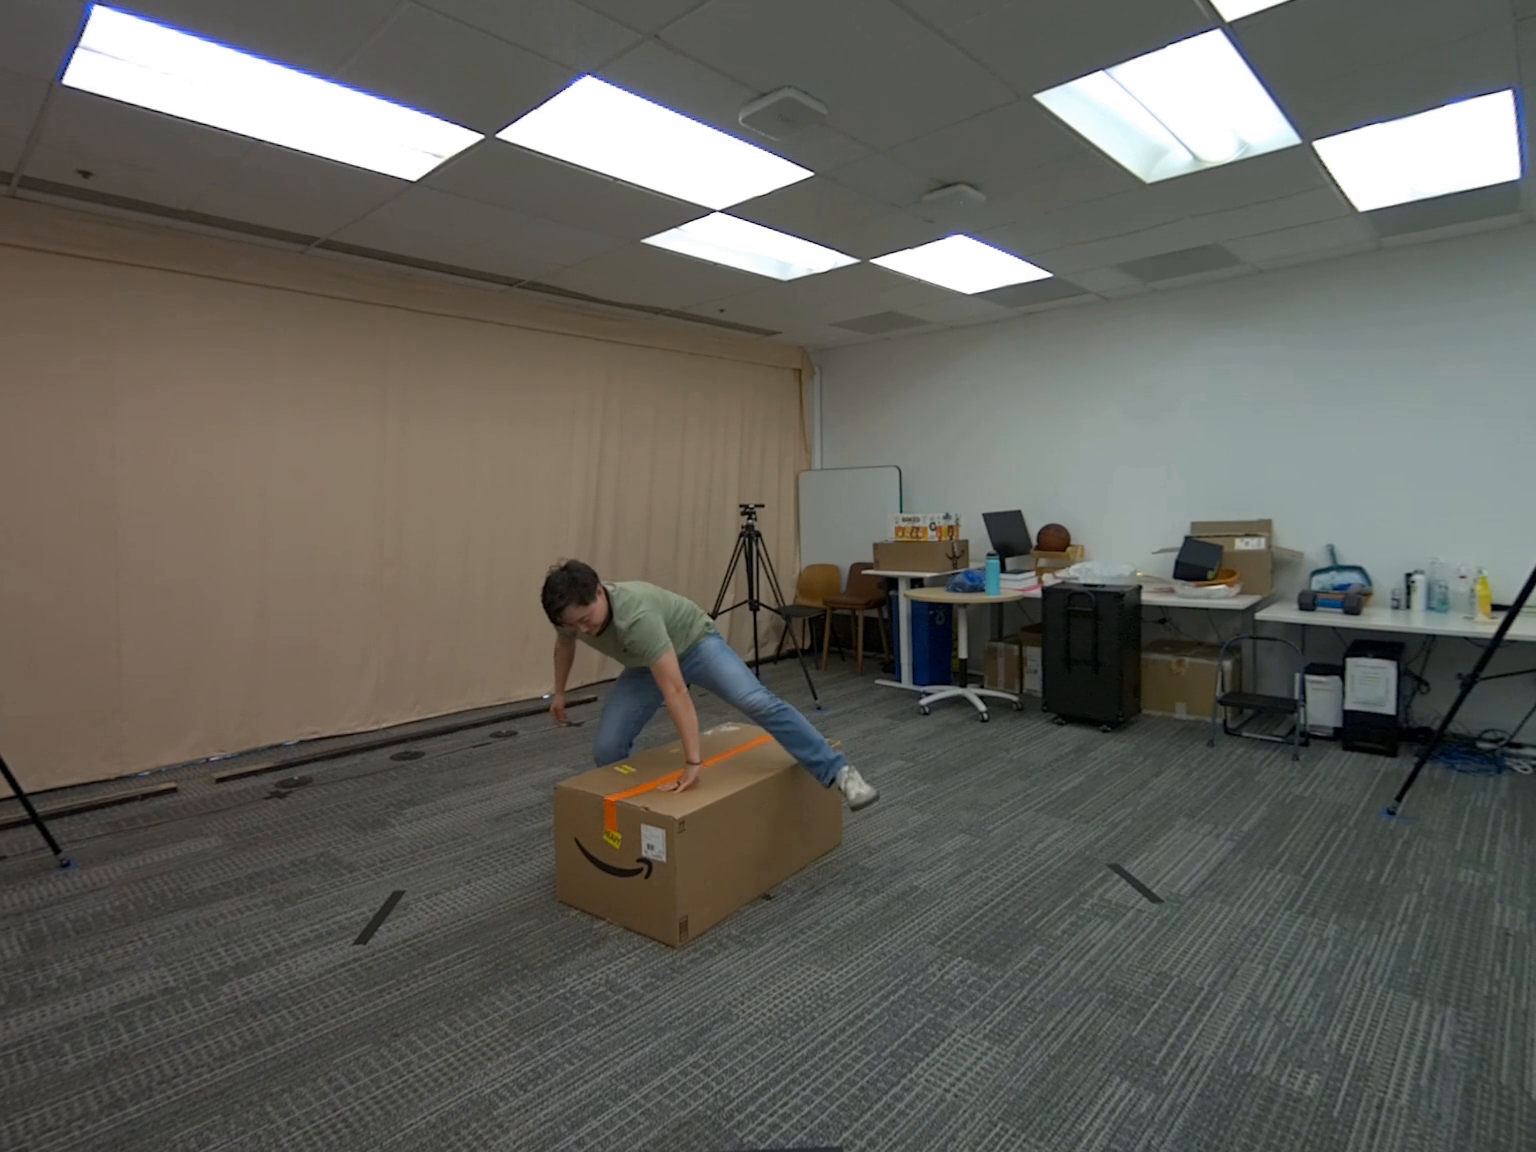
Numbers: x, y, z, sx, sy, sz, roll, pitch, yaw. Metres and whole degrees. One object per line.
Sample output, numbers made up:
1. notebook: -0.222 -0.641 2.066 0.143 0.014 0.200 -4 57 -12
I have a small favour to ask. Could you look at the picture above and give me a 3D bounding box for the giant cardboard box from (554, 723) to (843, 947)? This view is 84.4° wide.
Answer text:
1. giant cardboard box: -0.222 0.914 3.202 0.596 0.425 0.997 1 6 36
